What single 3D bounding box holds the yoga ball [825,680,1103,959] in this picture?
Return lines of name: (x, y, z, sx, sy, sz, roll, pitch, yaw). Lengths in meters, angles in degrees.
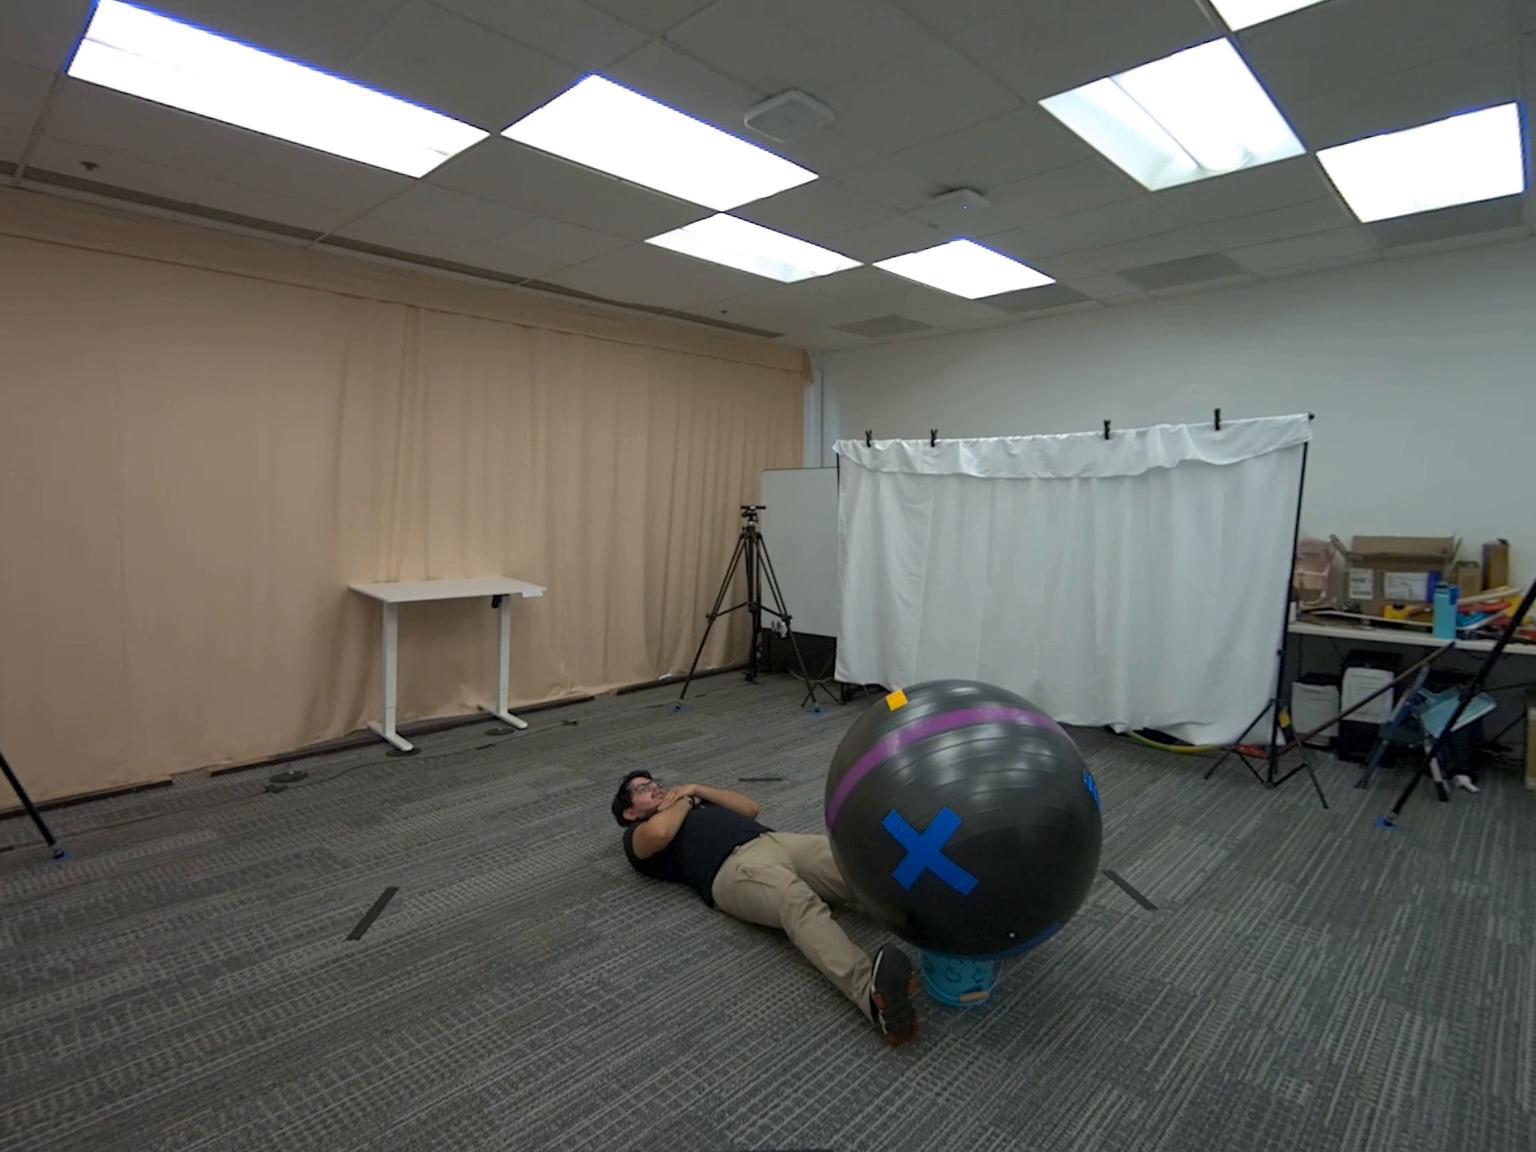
yoga ball: (0.549, 0.683, 2.404, 0.757, 0.756, 0.760, 0, 4, -2)
